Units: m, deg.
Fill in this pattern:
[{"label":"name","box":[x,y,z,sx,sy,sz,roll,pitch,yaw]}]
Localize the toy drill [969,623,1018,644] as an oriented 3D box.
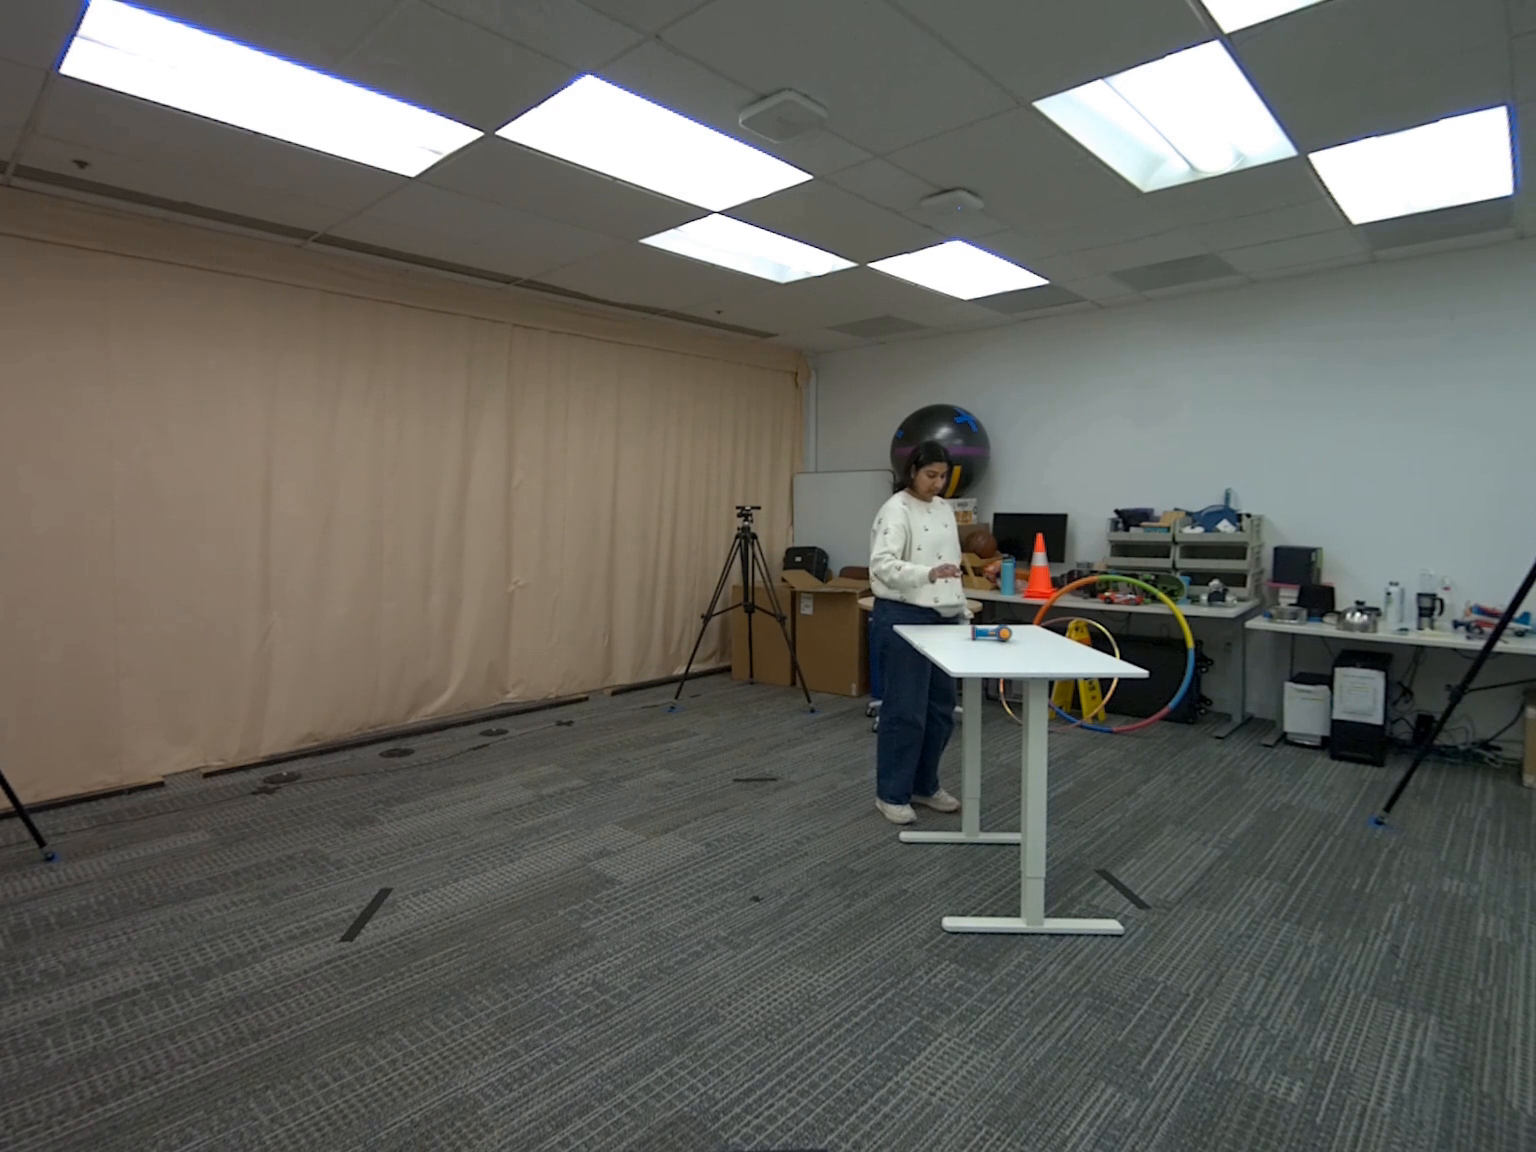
[{"label":"toy drill","box":[0.833,0.211,3.141,0.147,0.061,0.168,1,-1,8]}]
